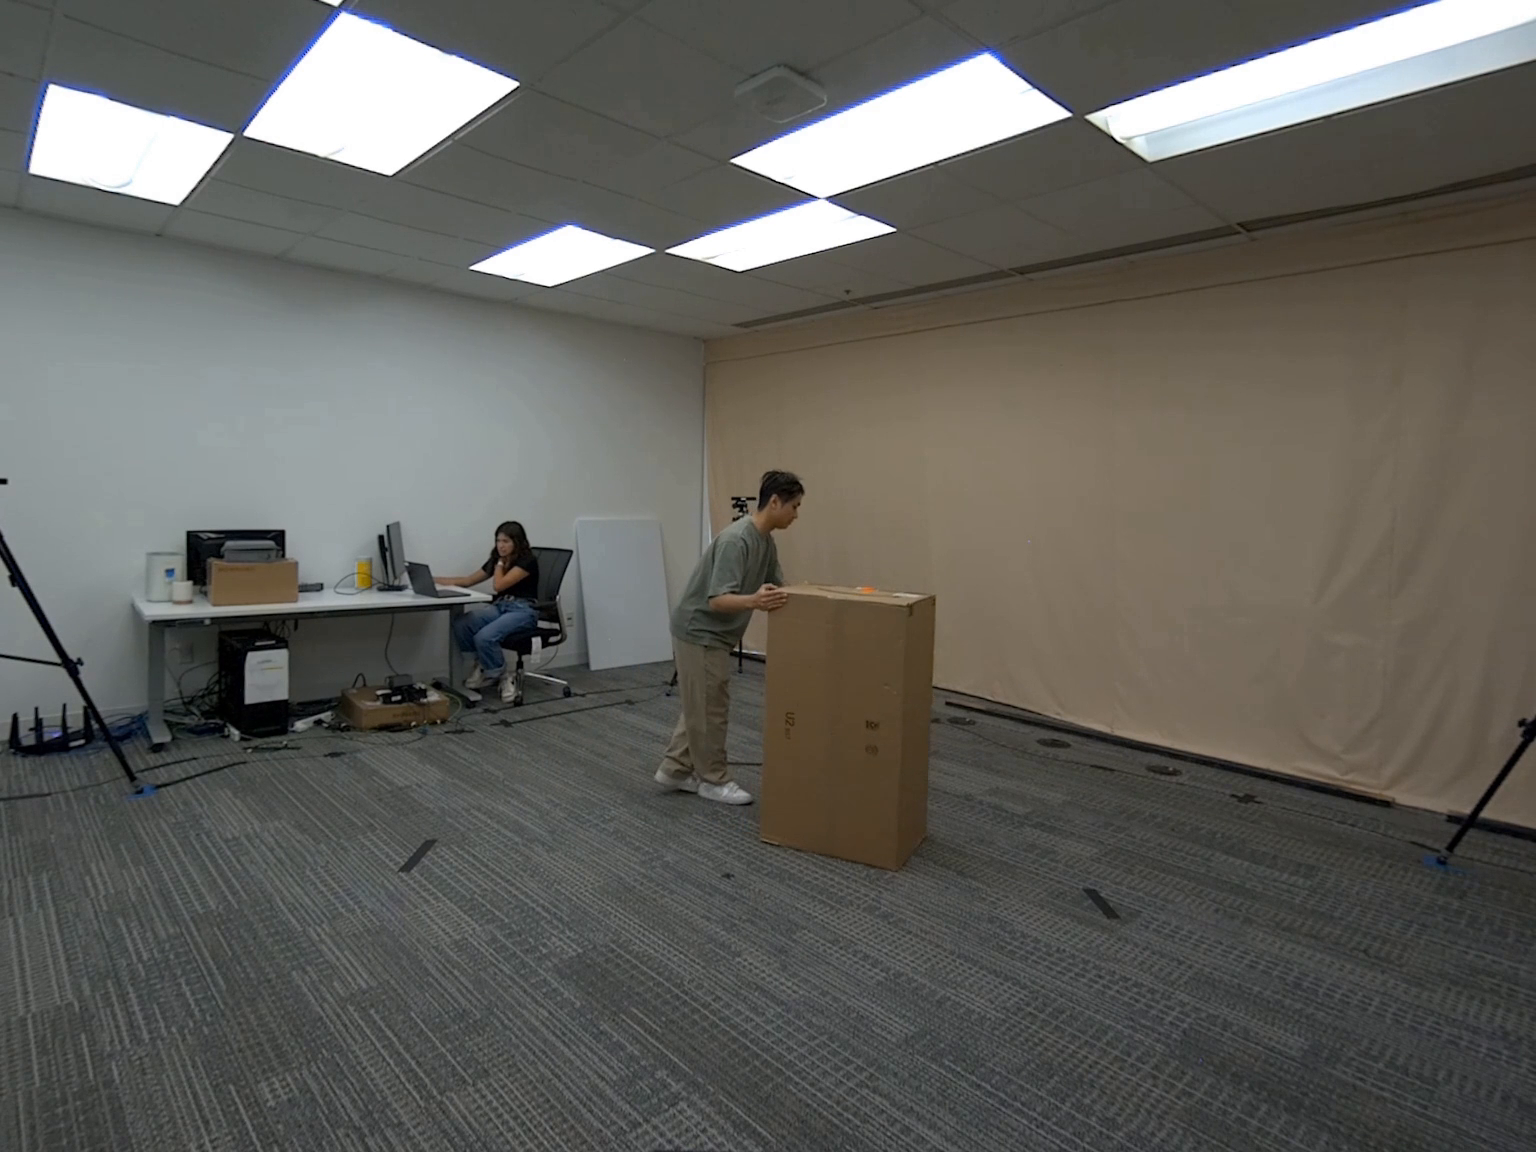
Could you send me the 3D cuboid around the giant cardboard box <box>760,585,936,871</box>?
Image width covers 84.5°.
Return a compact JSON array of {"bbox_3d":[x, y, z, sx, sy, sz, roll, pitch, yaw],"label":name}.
[{"bbox_3d":[0.326,0.578,3.454,0.589,1.023,0.418,4,4,27],"label":"giant cardboard box"}]
